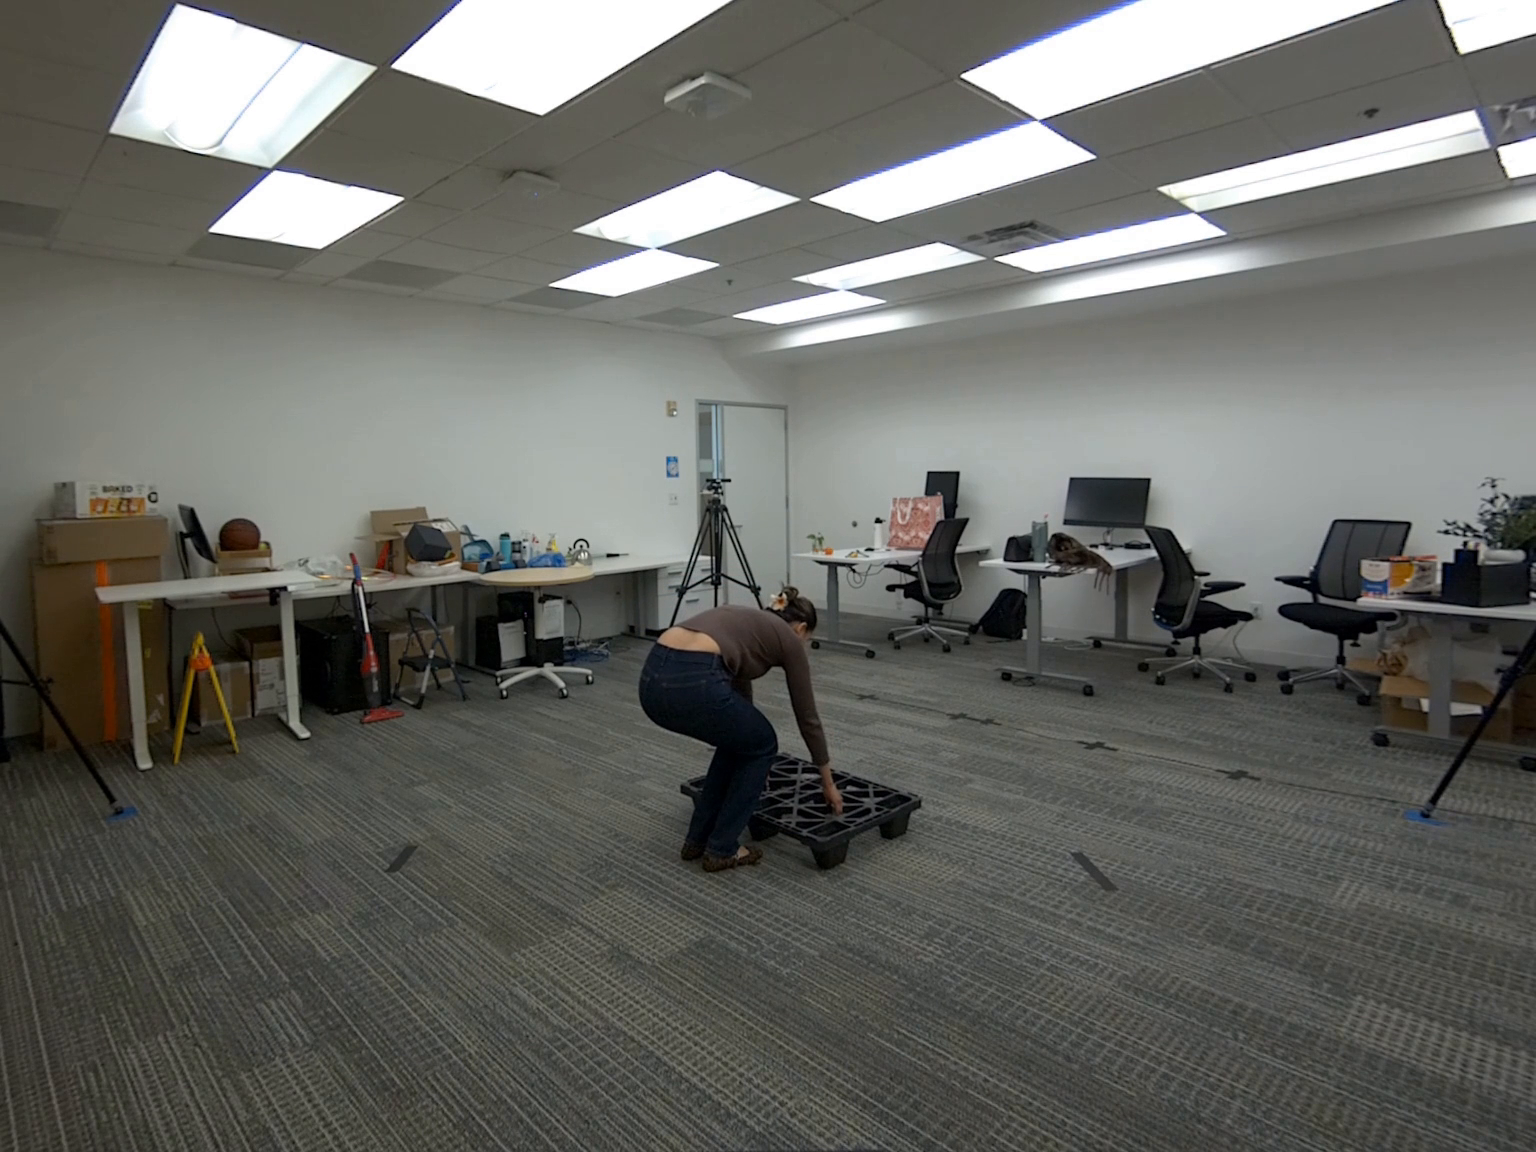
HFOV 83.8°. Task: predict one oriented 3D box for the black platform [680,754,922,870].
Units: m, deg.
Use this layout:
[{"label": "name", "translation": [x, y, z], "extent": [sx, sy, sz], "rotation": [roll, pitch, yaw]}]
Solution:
[{"label": "black platform", "translation": [0.122, 0.935, 3.457], "extent": [0.589, 0.142, 0.830], "rotation": [-8, 9, -43]}]
